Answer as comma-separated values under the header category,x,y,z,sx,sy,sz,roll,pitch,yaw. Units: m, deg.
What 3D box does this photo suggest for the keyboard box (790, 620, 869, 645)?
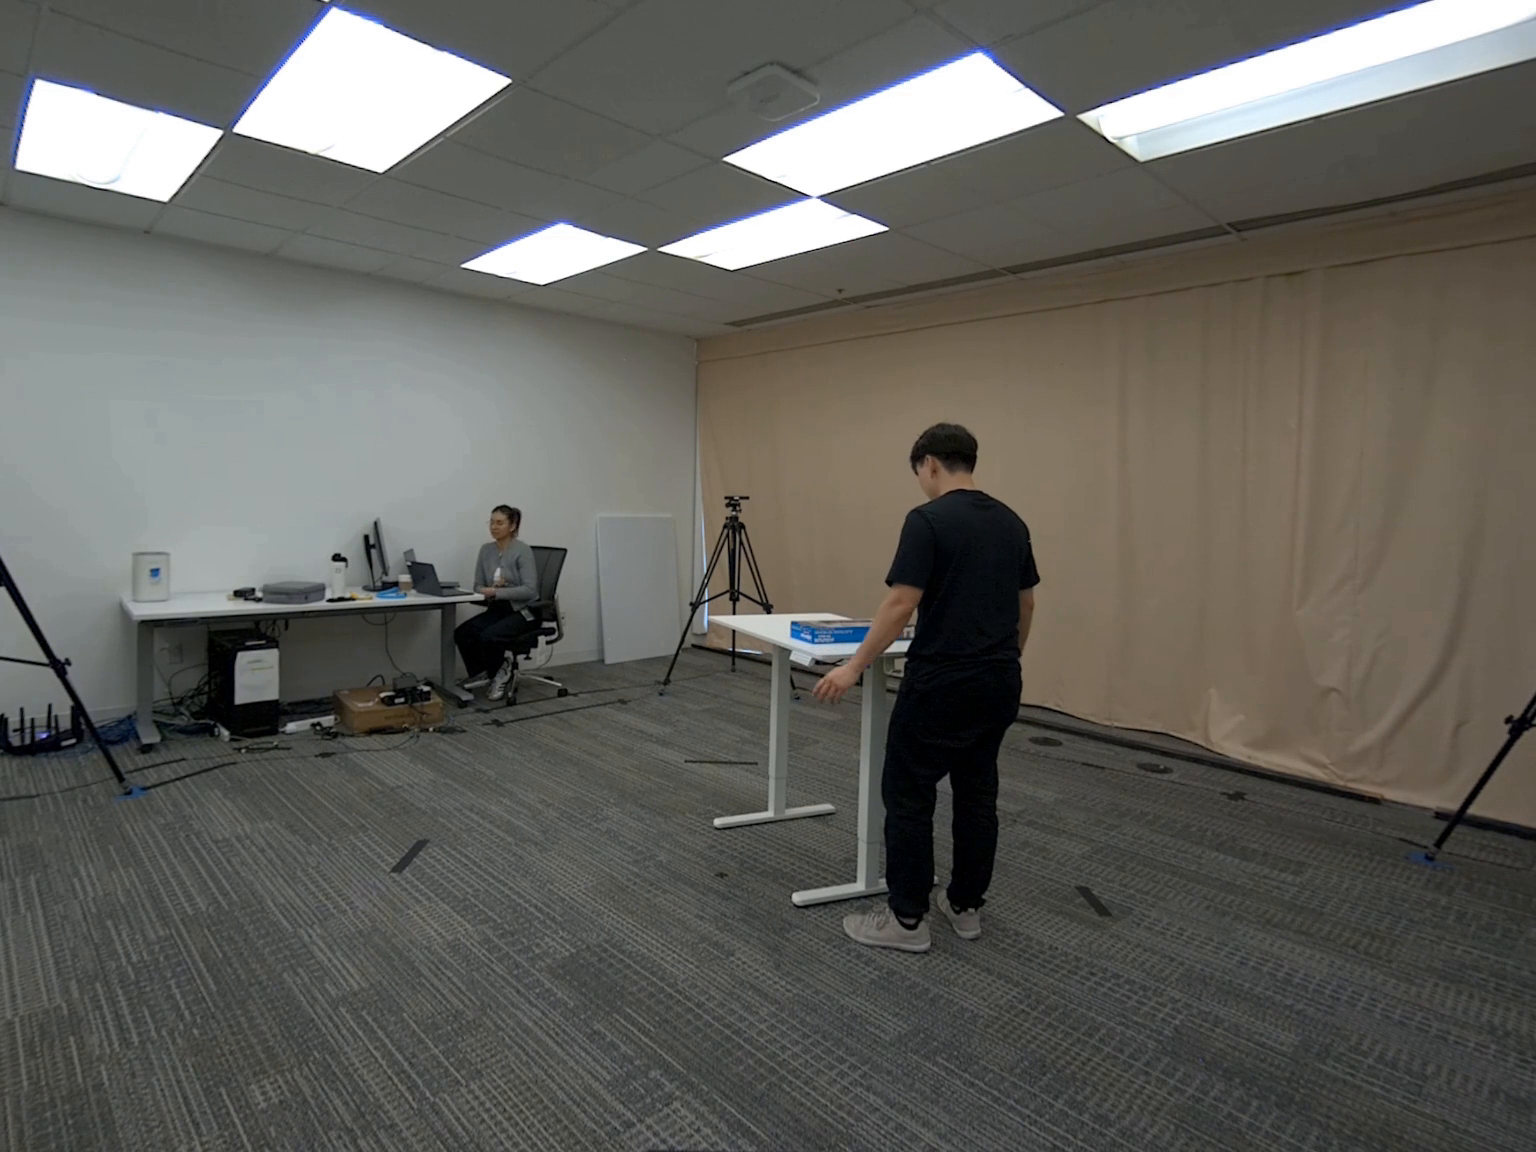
category,x,y,z,sx,sy,sz,roll,pitch,yaw
keyboard box,0.315,0.204,3.098,0.429,0.059,0.179,0,4,-24
